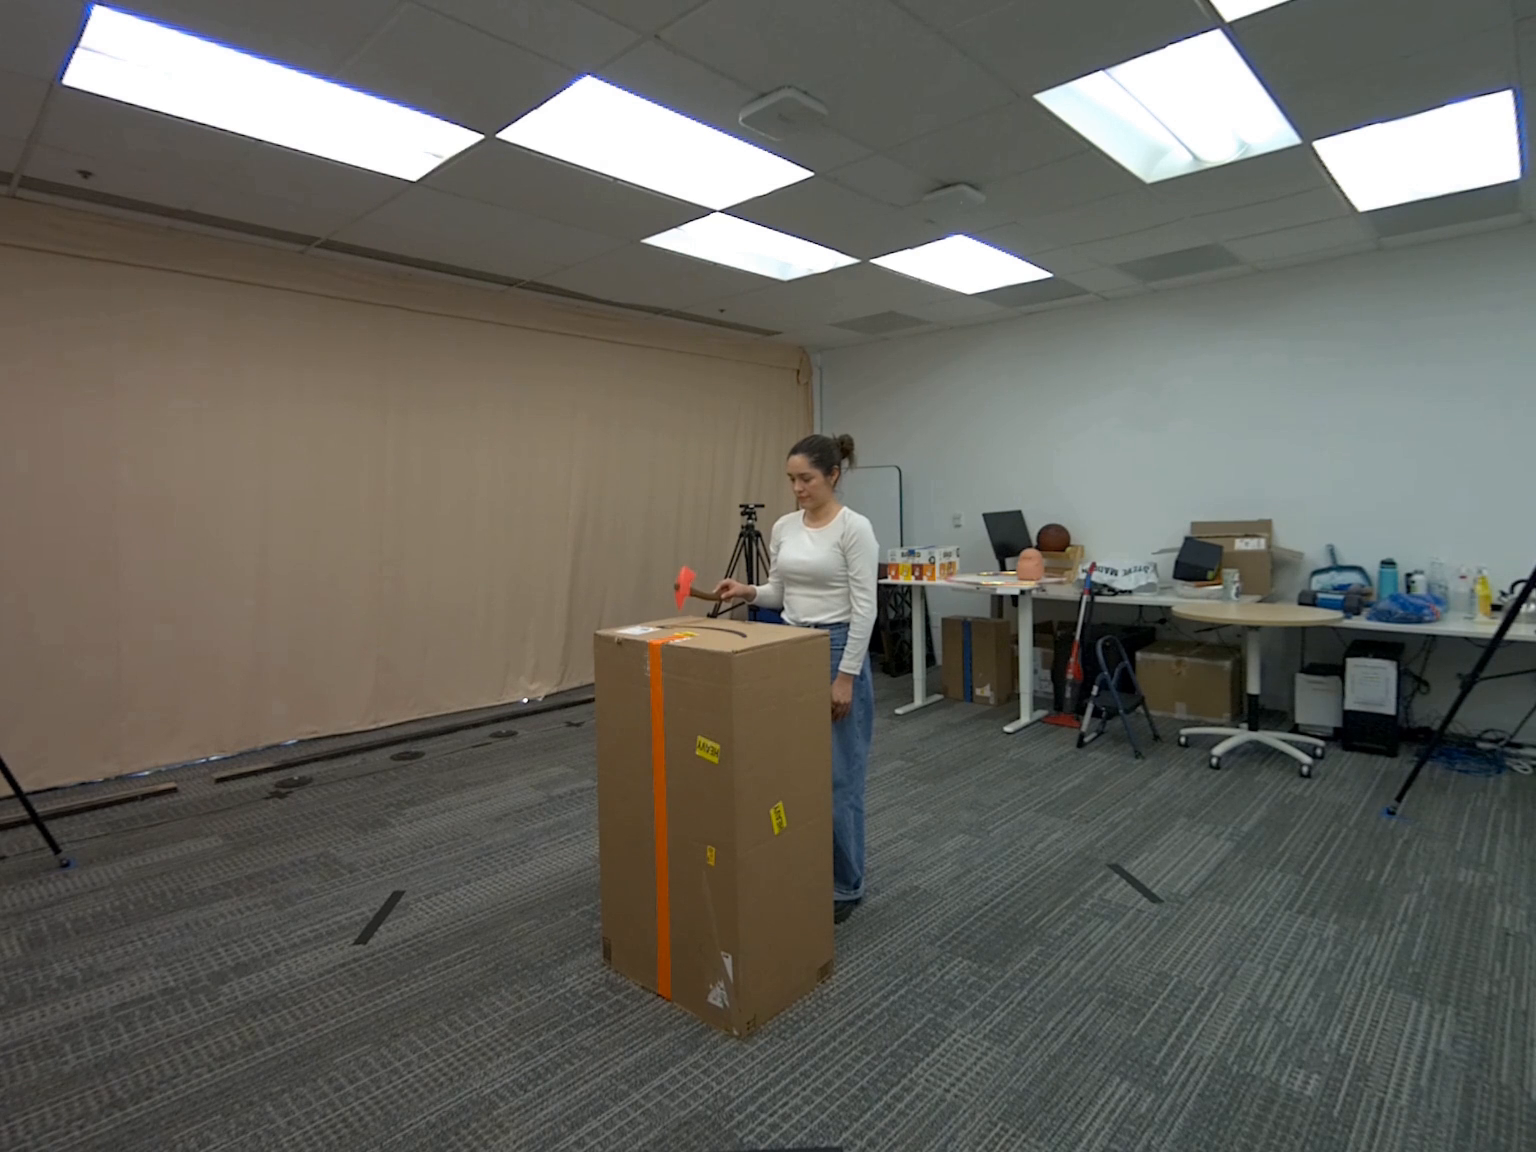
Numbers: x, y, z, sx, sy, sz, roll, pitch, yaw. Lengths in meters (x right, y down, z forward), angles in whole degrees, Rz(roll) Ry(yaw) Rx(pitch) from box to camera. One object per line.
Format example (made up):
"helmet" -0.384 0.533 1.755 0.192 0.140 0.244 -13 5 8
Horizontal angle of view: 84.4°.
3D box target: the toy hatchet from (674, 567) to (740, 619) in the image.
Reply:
"toy hatchet" -0.209 0.036 2.743 0.030 0.131 0.262 -9 -1 42
